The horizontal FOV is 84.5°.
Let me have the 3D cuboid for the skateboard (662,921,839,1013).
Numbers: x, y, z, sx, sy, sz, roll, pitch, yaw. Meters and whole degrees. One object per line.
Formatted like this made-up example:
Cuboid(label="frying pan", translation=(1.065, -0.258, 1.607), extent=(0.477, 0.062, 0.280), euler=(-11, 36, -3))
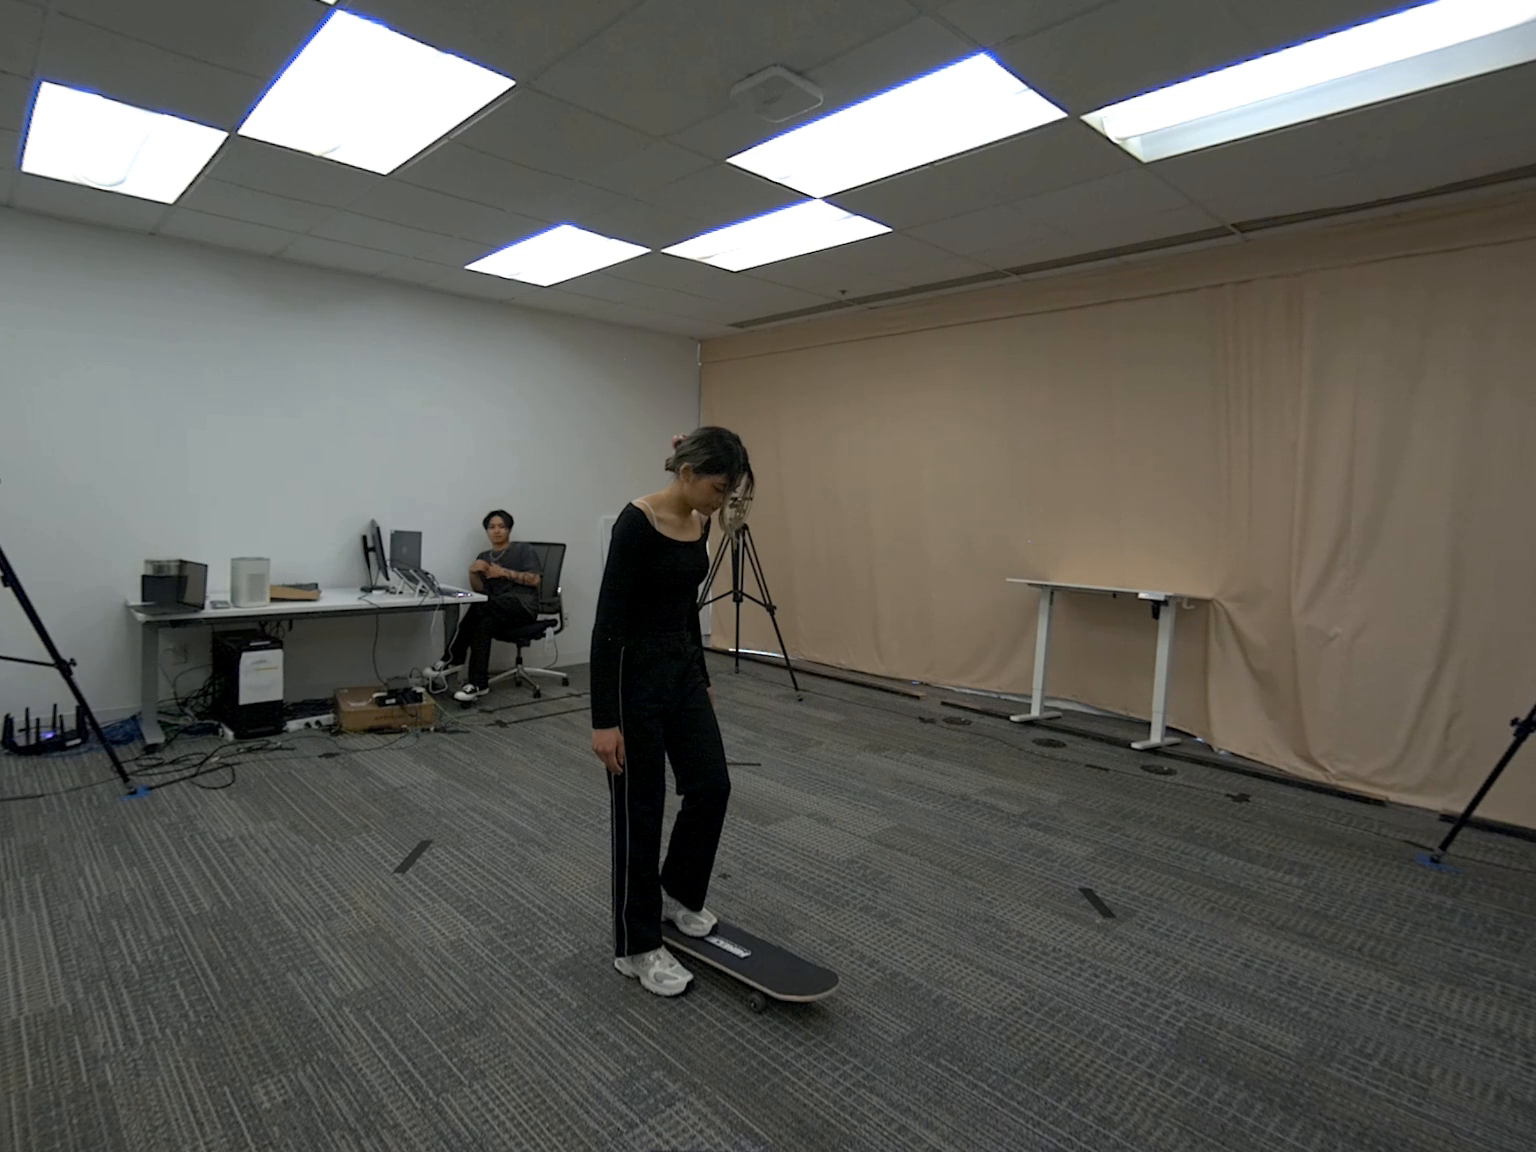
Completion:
Cuboid(label="skateboard", translation=(-0.144, 1.116, 2.476), extent=(0.805, 0.110, 0.189), euler=(5, 5, 40))
